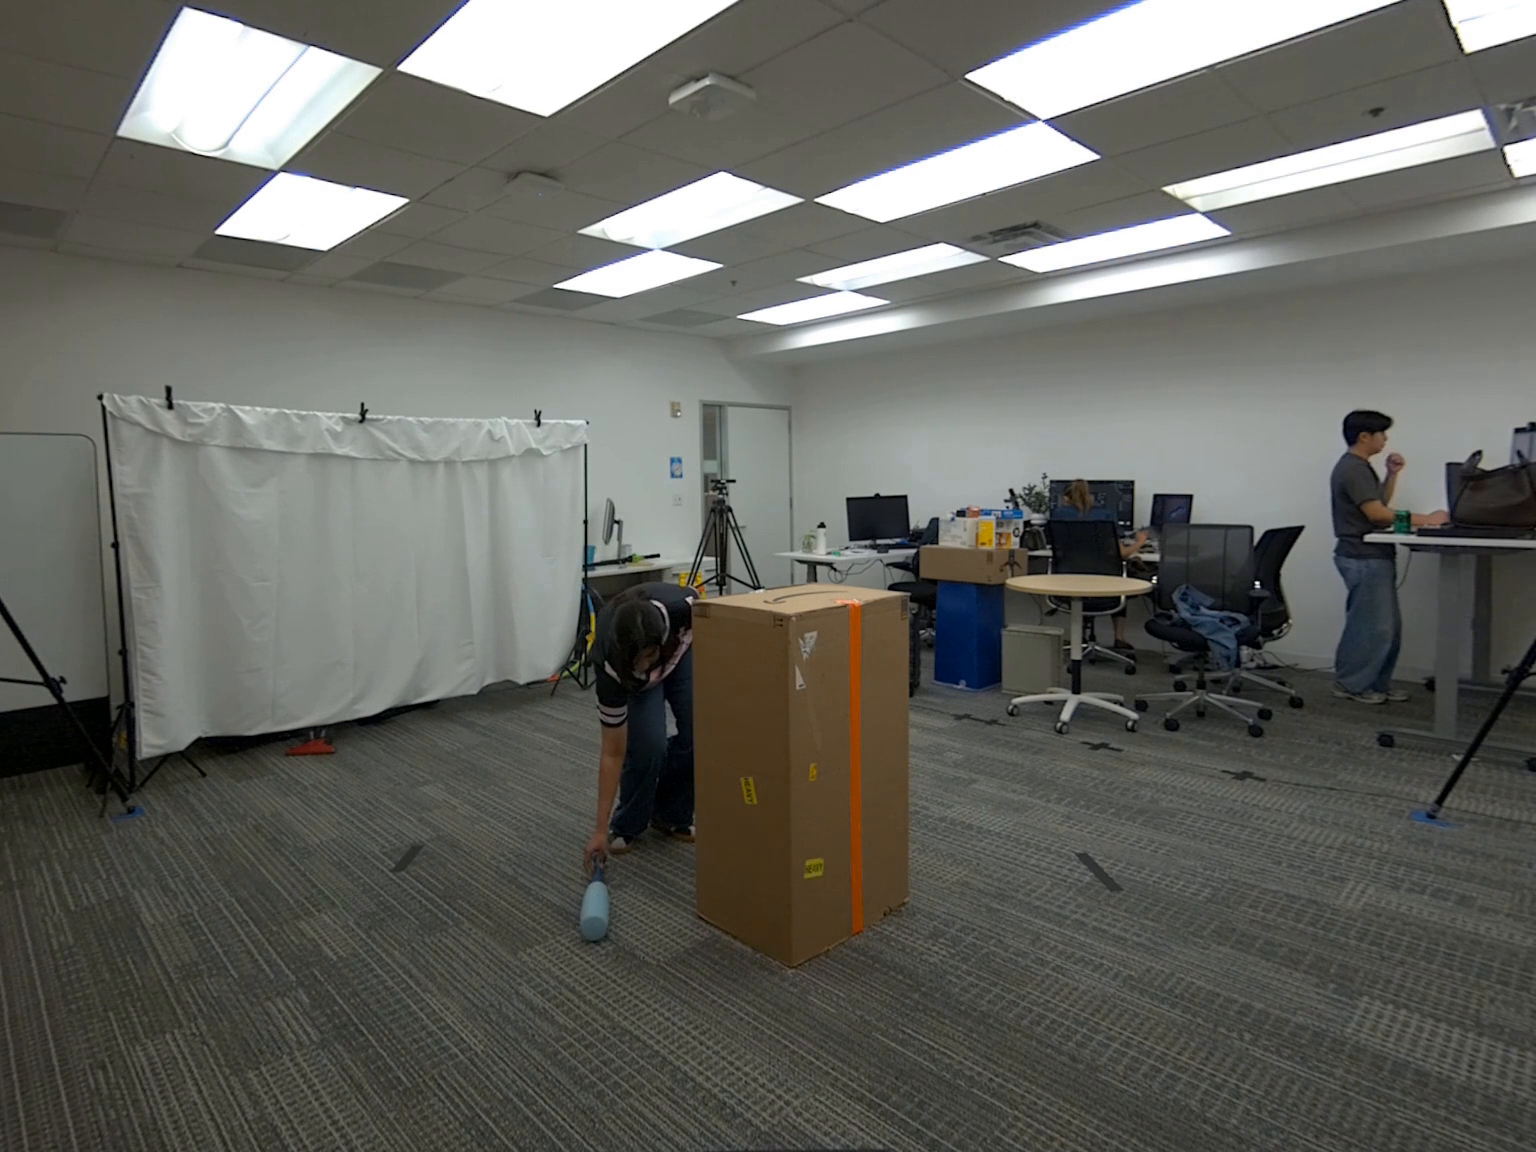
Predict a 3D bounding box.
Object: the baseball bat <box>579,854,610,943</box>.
[{"bbox_3d":[-0.567,1.045,2.851,0.088,0.089,0.549,-2,6,-9],"label":"baseball bat"}]
